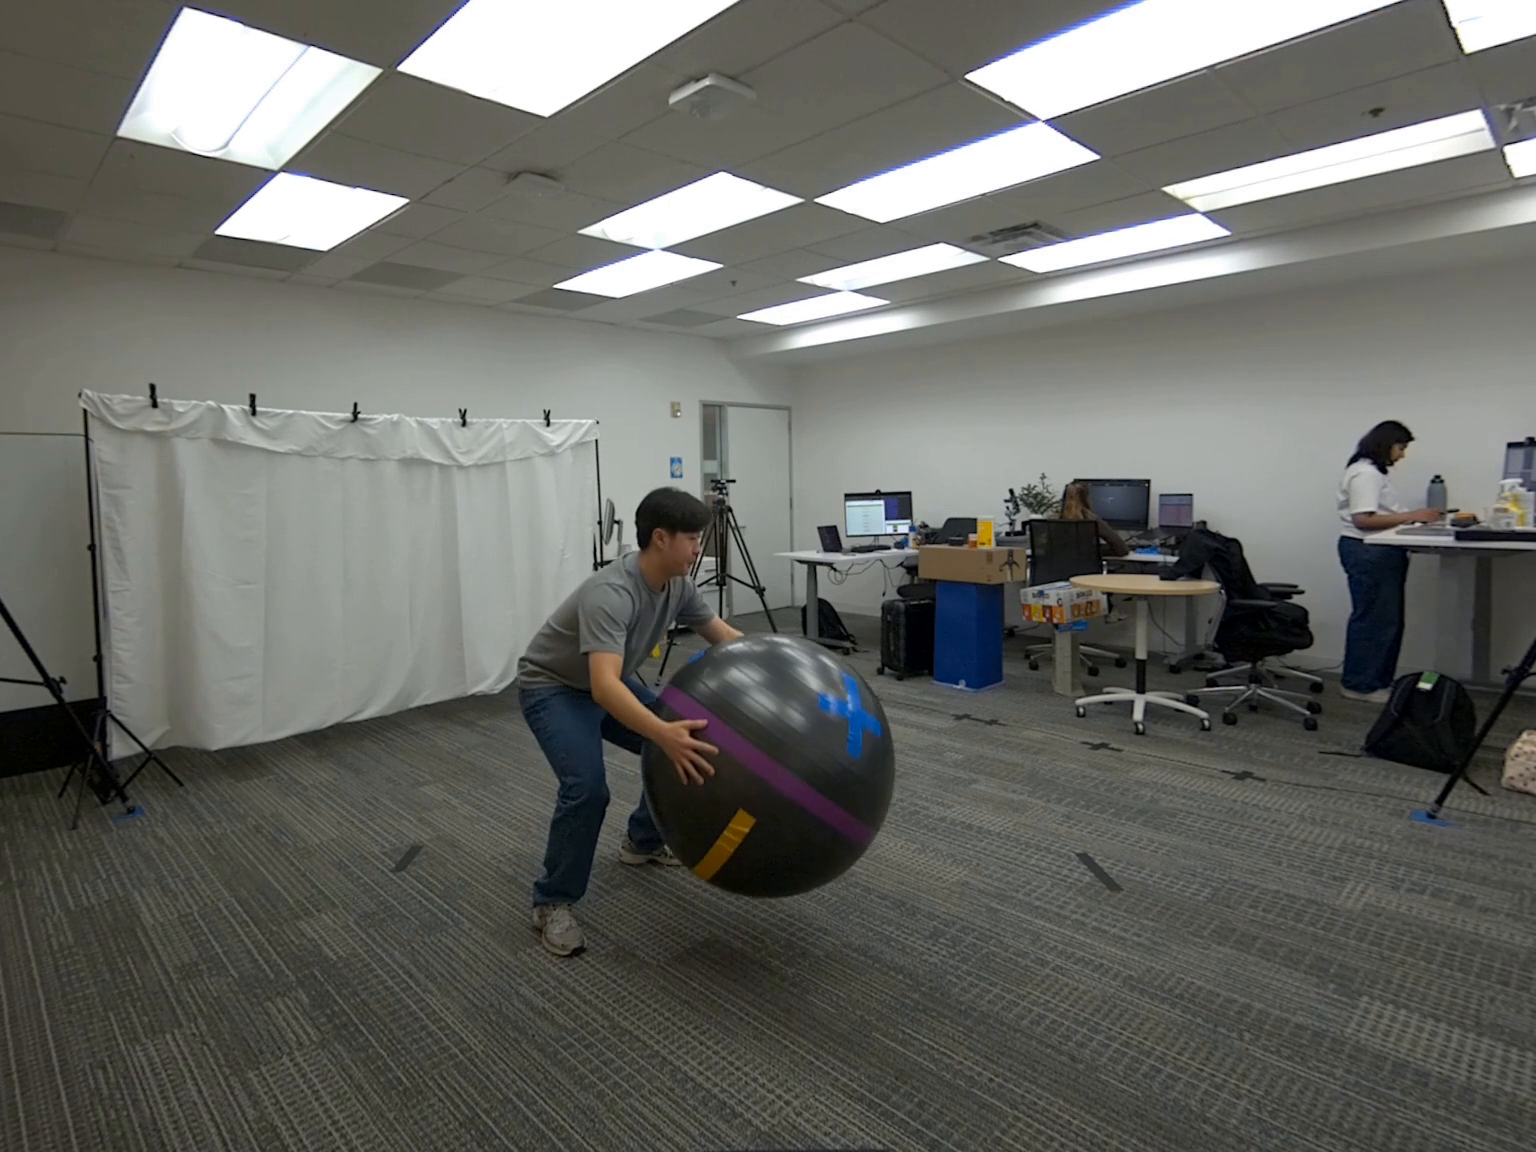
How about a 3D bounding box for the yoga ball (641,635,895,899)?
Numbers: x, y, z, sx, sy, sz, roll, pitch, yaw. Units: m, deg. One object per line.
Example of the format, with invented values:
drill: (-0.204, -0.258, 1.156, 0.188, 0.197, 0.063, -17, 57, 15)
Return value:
yoga ball: (0.001, 0.549, 2.551, 0.757, 0.755, 0.762, -1, 5, -2)
